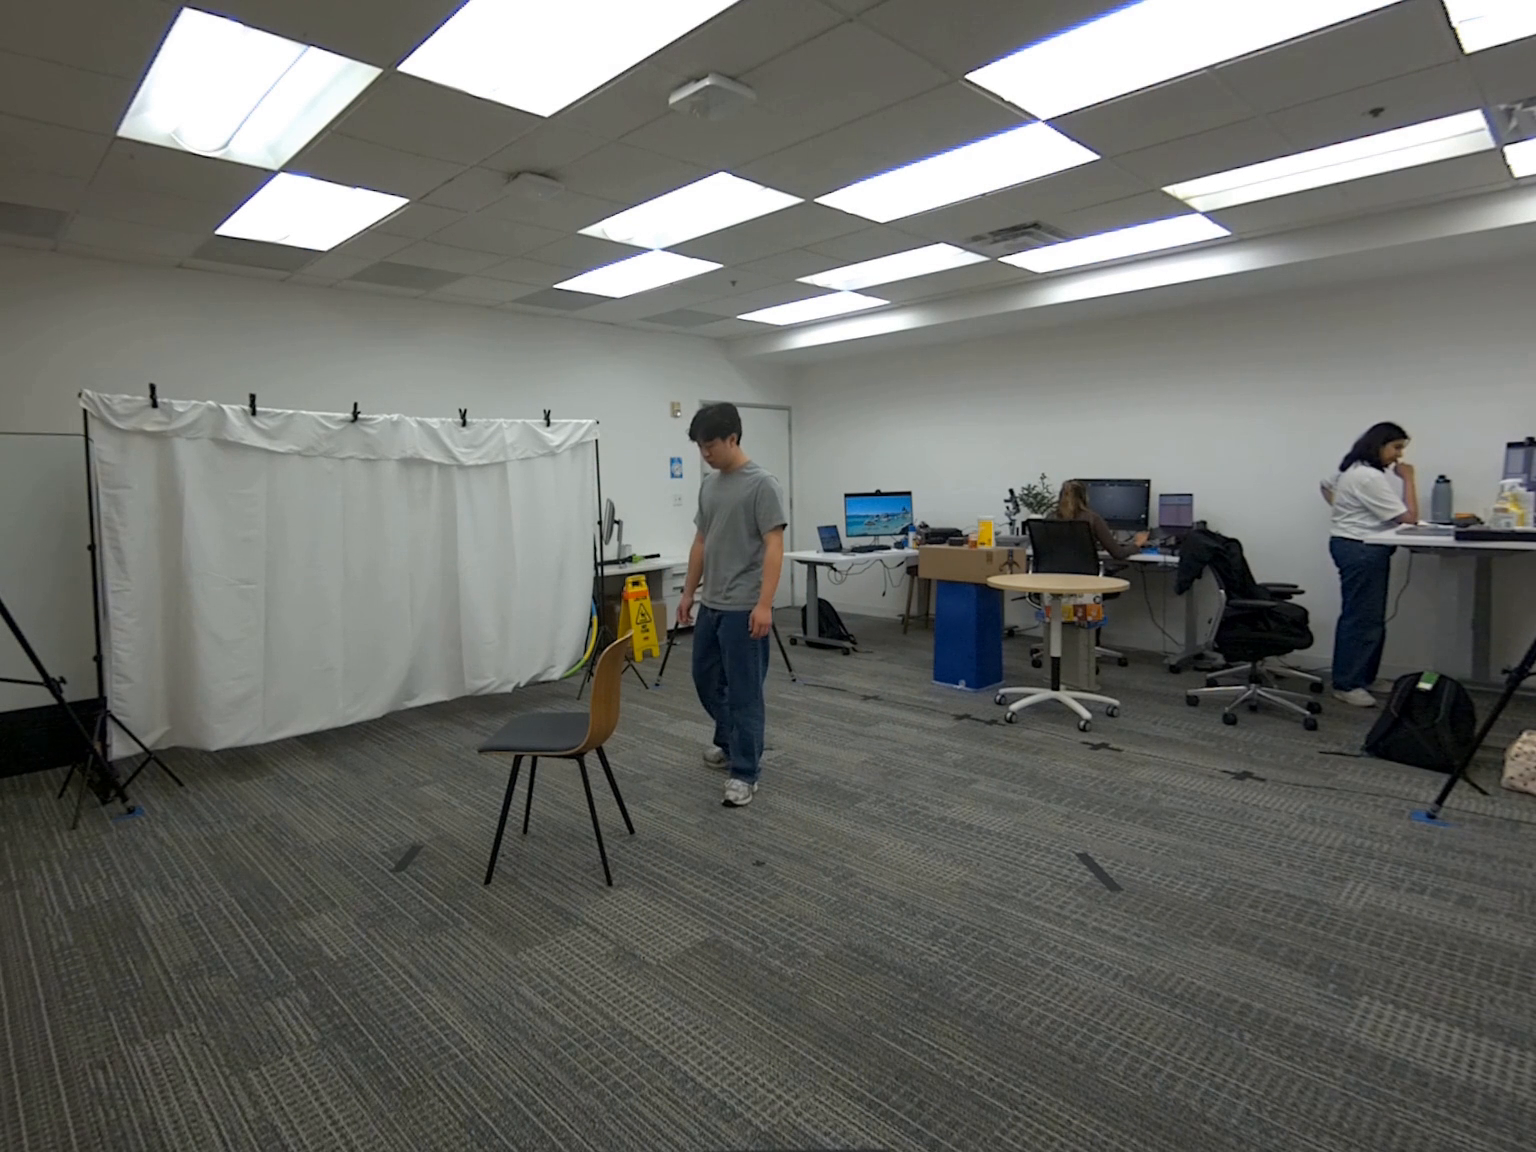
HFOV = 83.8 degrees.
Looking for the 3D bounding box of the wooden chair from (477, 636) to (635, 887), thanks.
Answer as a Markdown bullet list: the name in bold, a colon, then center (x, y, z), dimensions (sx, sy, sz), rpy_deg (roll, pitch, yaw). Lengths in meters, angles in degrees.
- **wooden chair**: center (-0.778, 0.633, 3.147), dimensions (0.524, 0.874, 0.479), rpy_deg (2, 5, 2)
